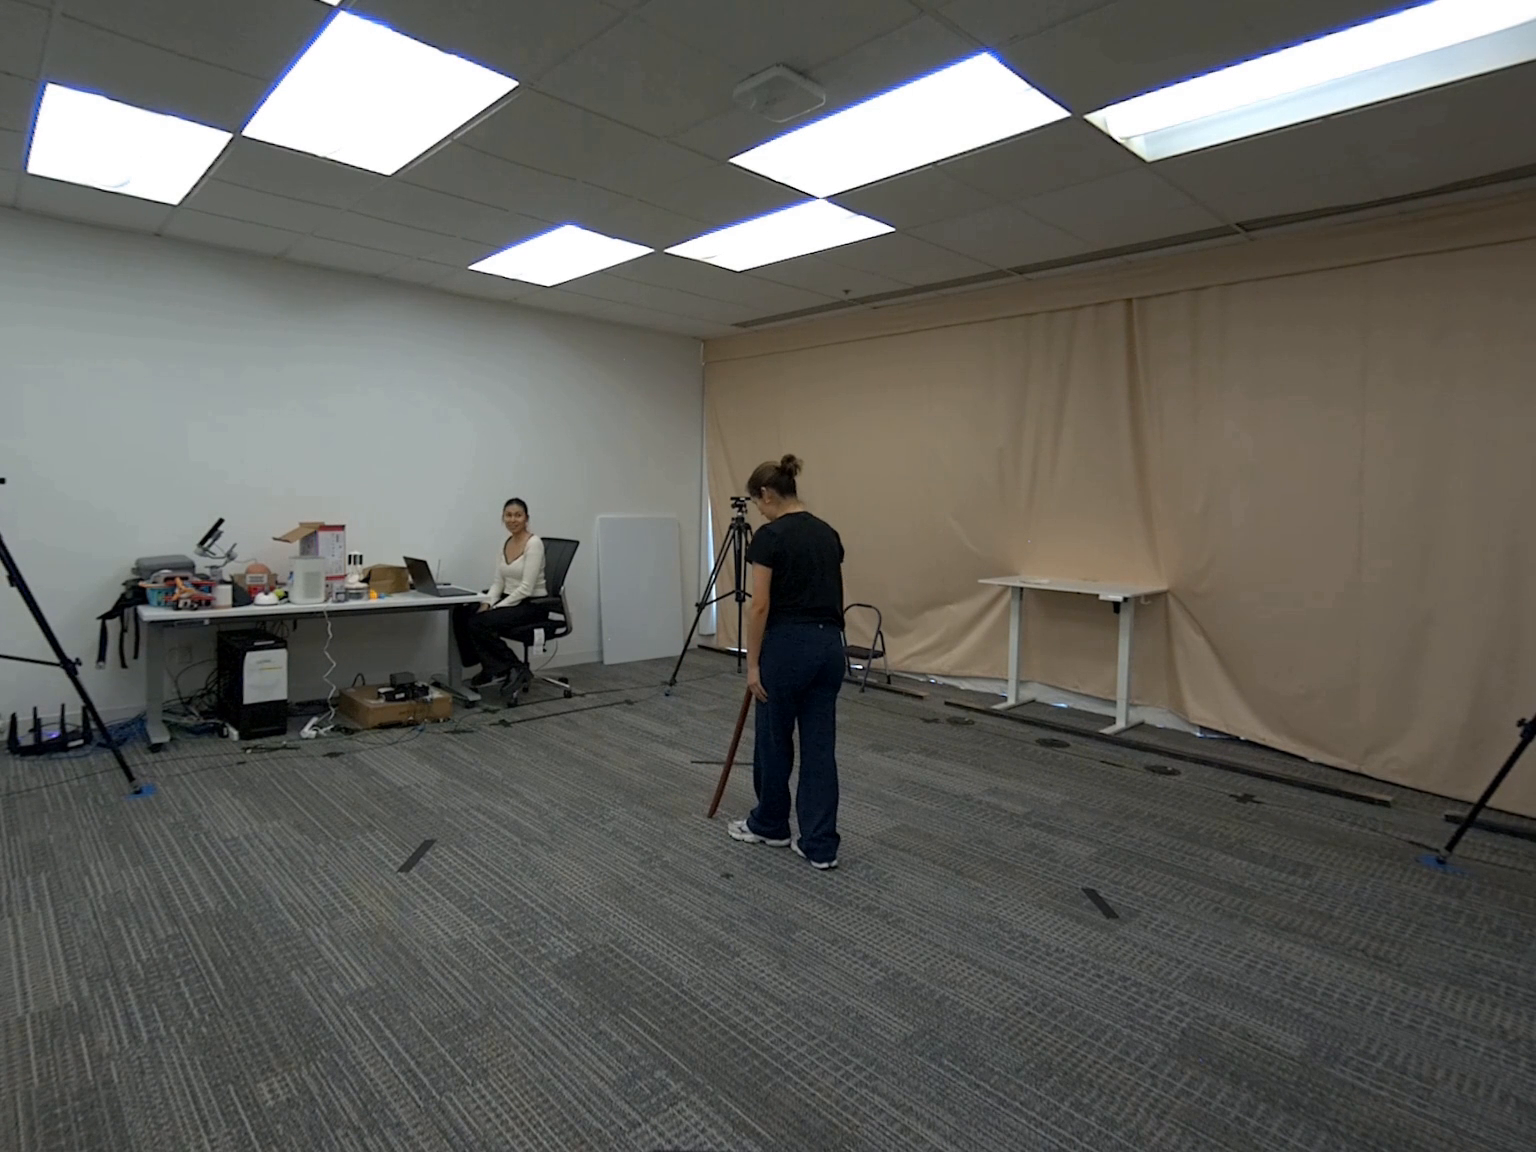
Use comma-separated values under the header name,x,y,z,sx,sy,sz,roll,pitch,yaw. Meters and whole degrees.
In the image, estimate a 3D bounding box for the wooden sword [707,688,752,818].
name,x,y,z,sx,sy,sz,roll,pitch,yaw
wooden sword,-0.105,0.569,3.638,0.050,1.024,0.025,16,2,-42
